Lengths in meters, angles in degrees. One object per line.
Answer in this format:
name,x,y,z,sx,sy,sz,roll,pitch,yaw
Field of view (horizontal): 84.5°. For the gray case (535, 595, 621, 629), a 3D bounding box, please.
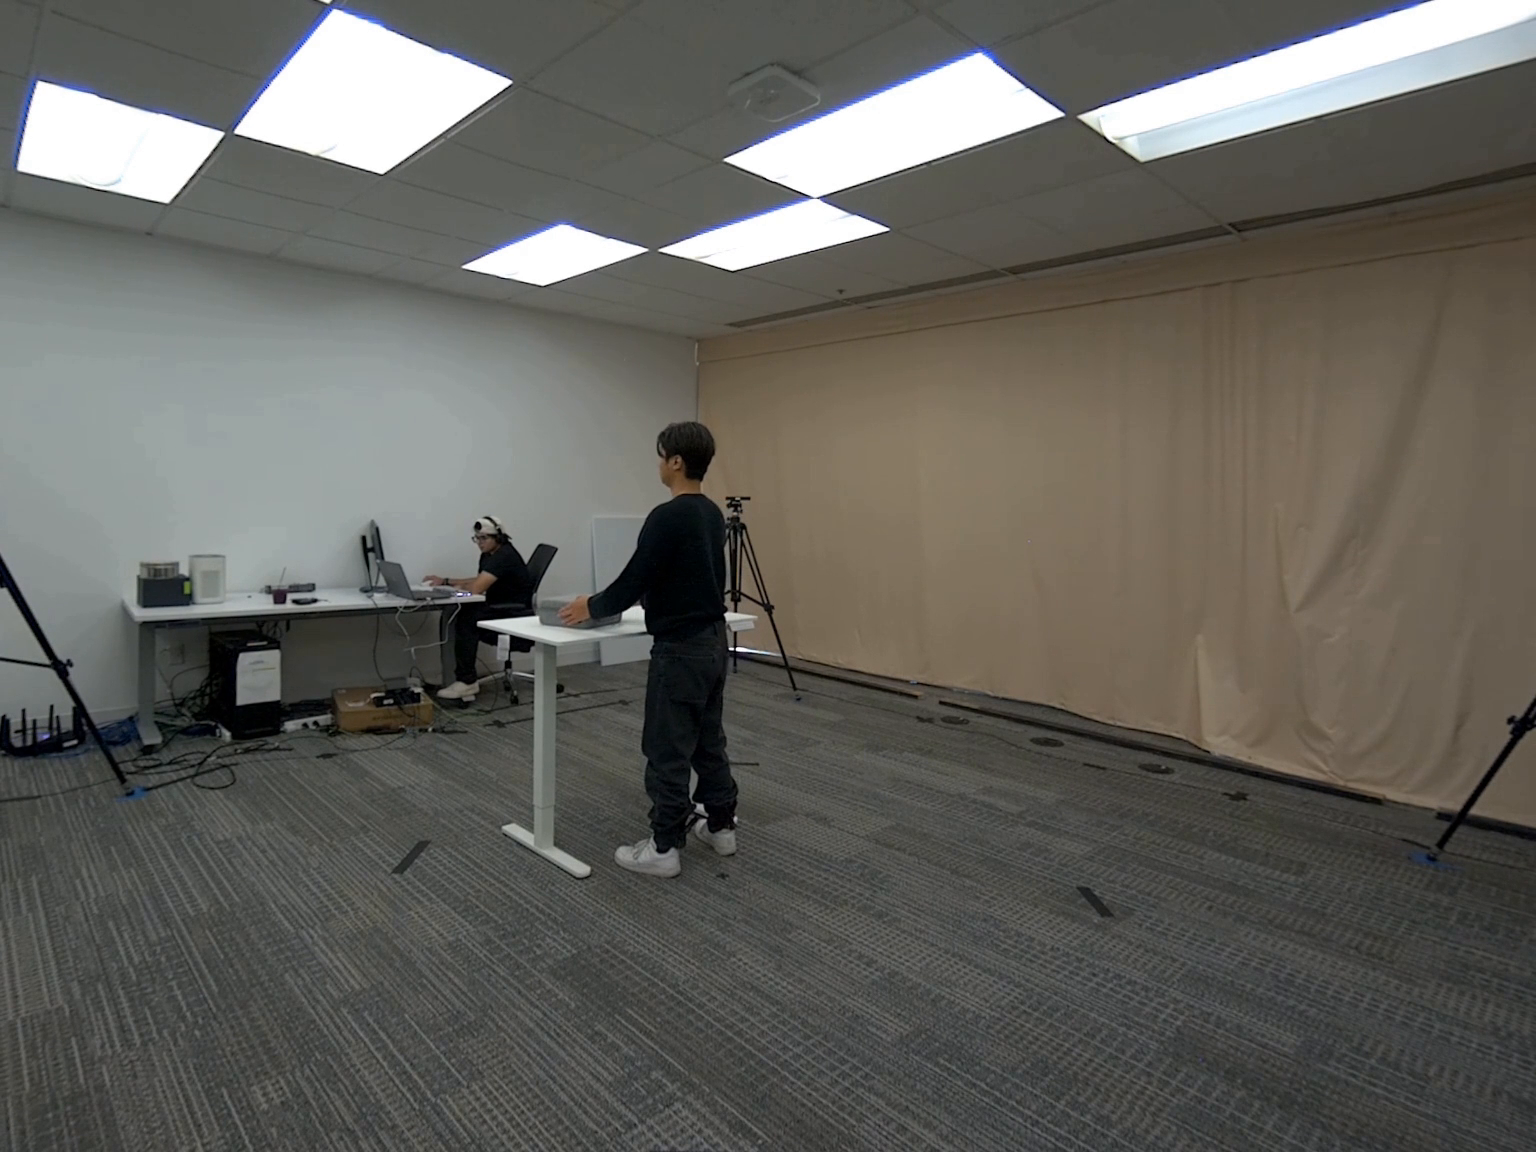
gray case,-0.748,0.137,3.365,0.266,0.104,0.252,4,6,28
